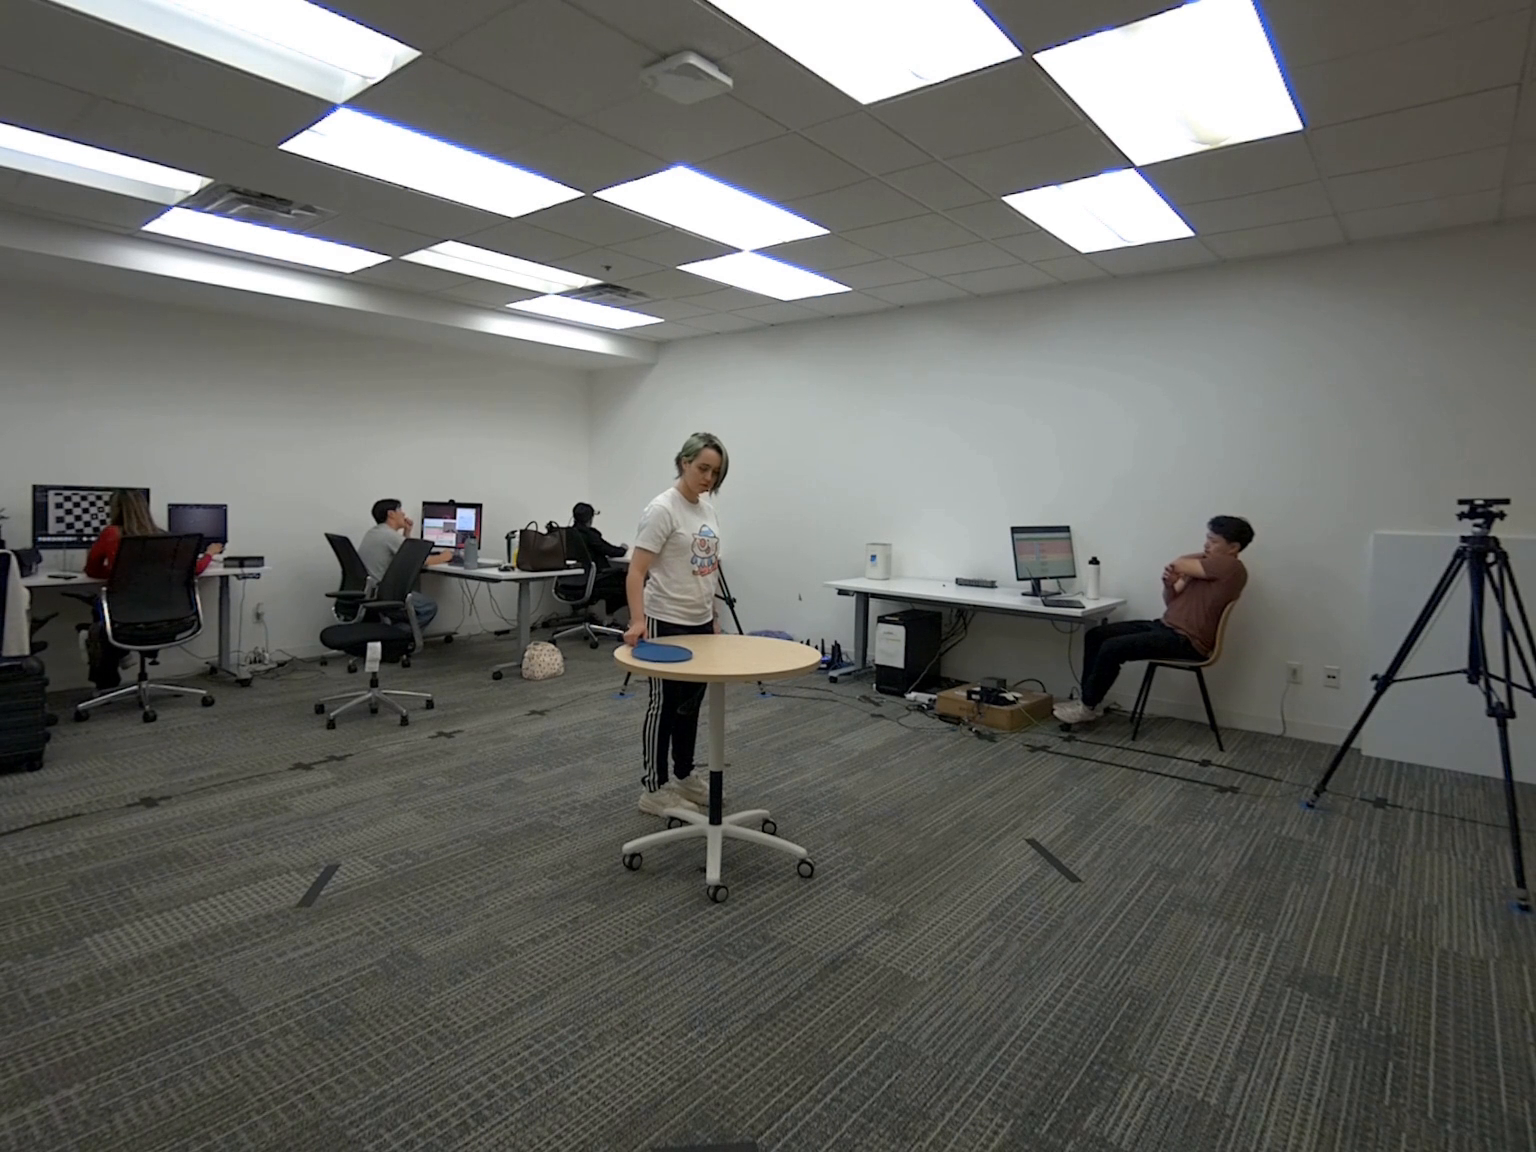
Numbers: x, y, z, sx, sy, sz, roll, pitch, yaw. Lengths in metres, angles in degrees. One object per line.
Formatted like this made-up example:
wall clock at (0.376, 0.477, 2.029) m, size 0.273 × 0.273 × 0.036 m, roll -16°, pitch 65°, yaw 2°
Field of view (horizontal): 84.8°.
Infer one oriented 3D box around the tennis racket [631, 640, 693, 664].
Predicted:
tennis racket at (-0.439, 0.266, 3.147) m, size 0.208 × 0.031 × 0.447 m, roll -4°, pitch 9°, yaw -30°
